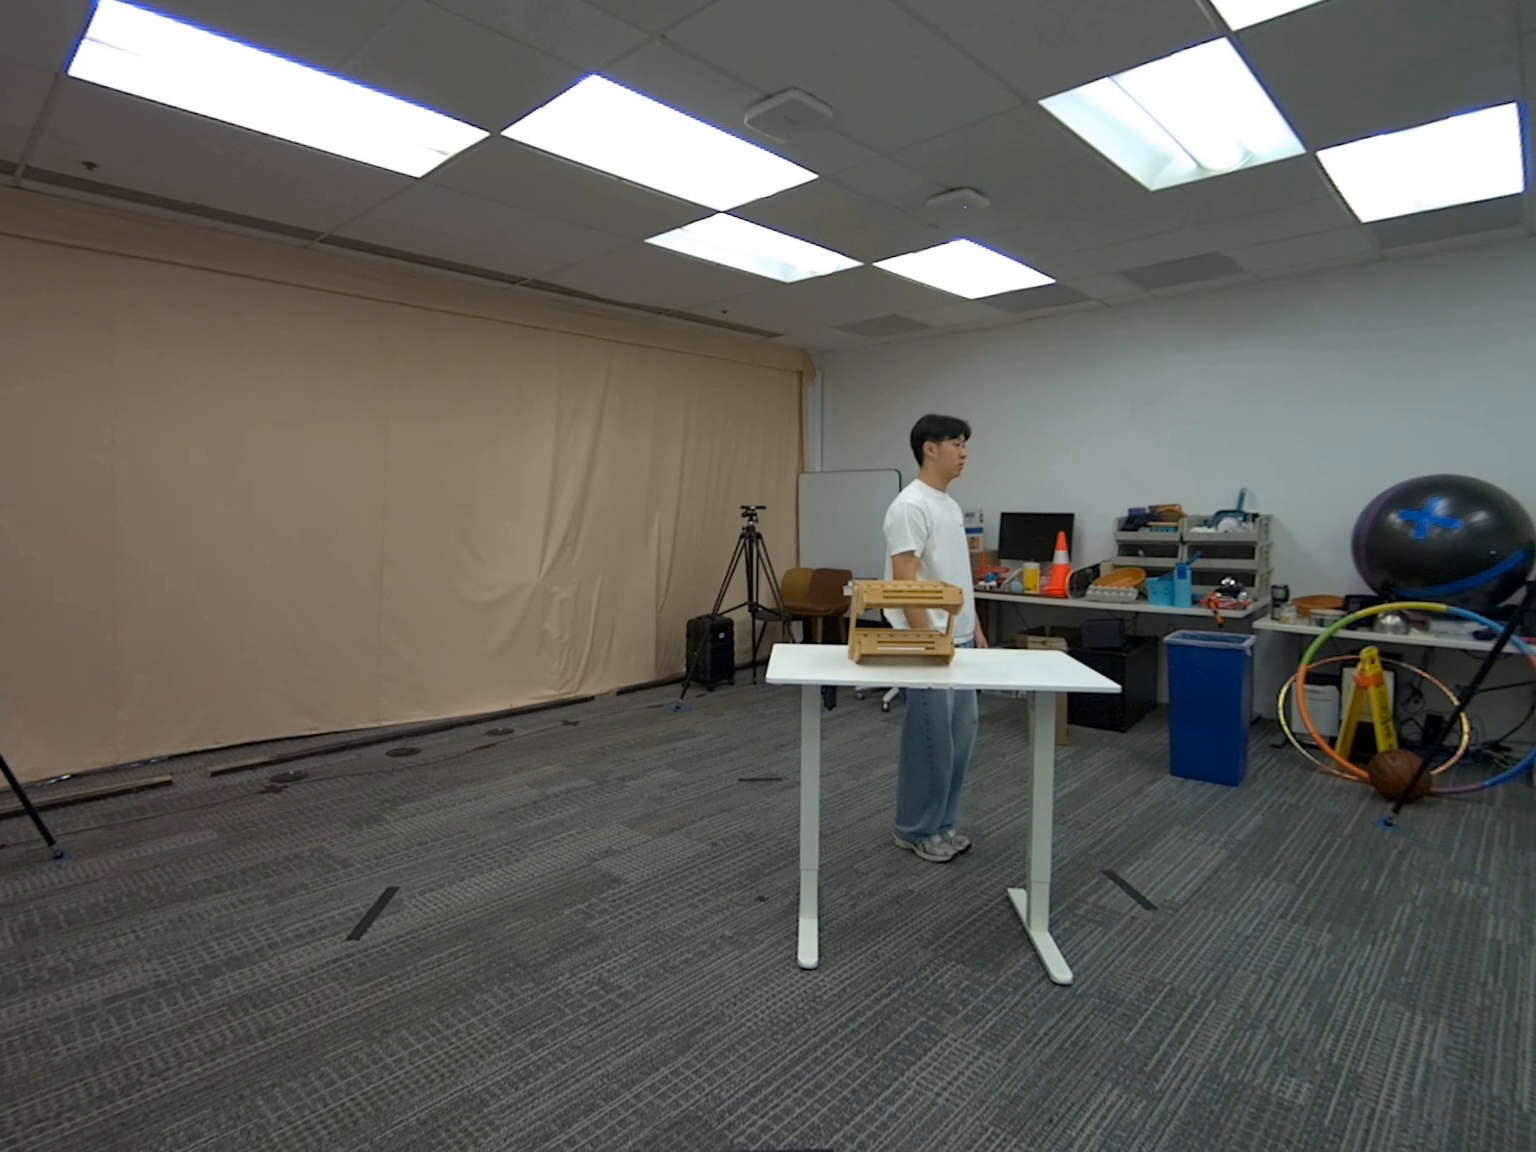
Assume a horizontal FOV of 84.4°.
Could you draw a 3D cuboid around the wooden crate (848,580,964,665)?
[{"bbox_3d":[0.438,0.163,2.683,0.325,0.273,0.302,2,4,0],"label":"wooden crate"}]
